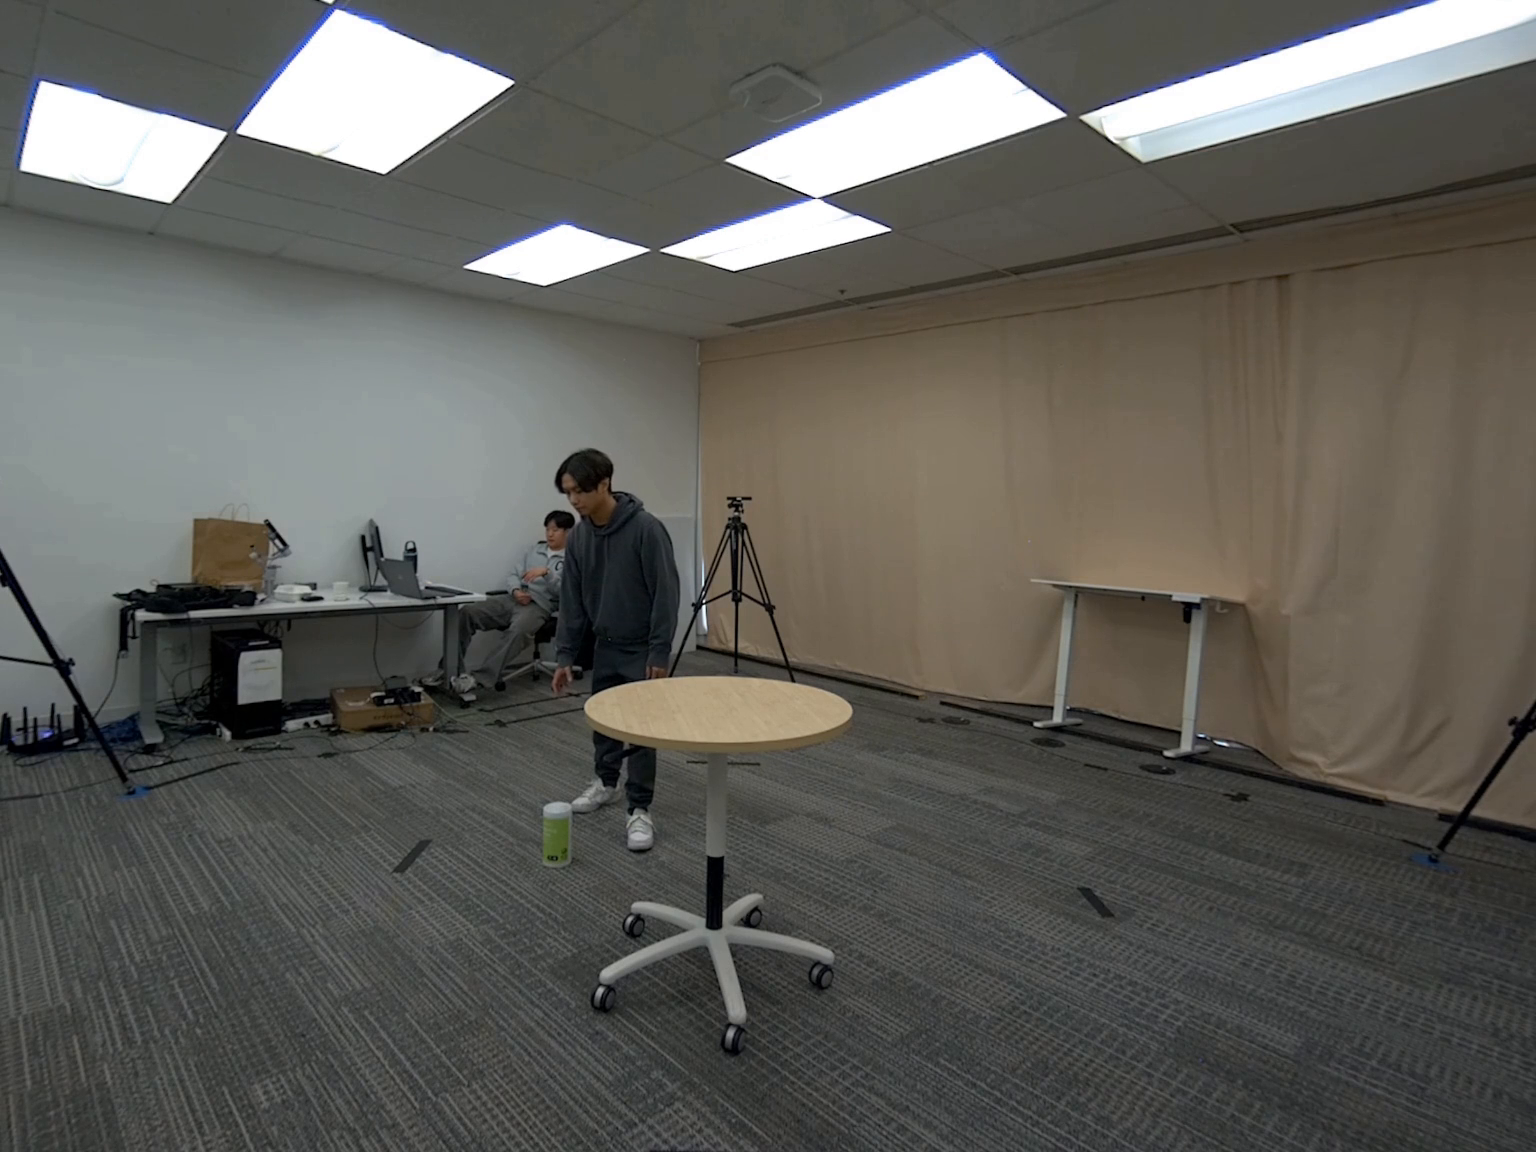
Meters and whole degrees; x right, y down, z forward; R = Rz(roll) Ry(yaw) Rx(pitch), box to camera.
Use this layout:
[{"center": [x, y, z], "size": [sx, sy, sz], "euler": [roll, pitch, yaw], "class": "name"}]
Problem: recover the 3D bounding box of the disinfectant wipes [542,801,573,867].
[{"center": [-0.810, 0.979, 3.179], "size": [0.118, 0.217, 0.118], "euler": [0, 5, -1], "class": "disinfectant wipes"}]
